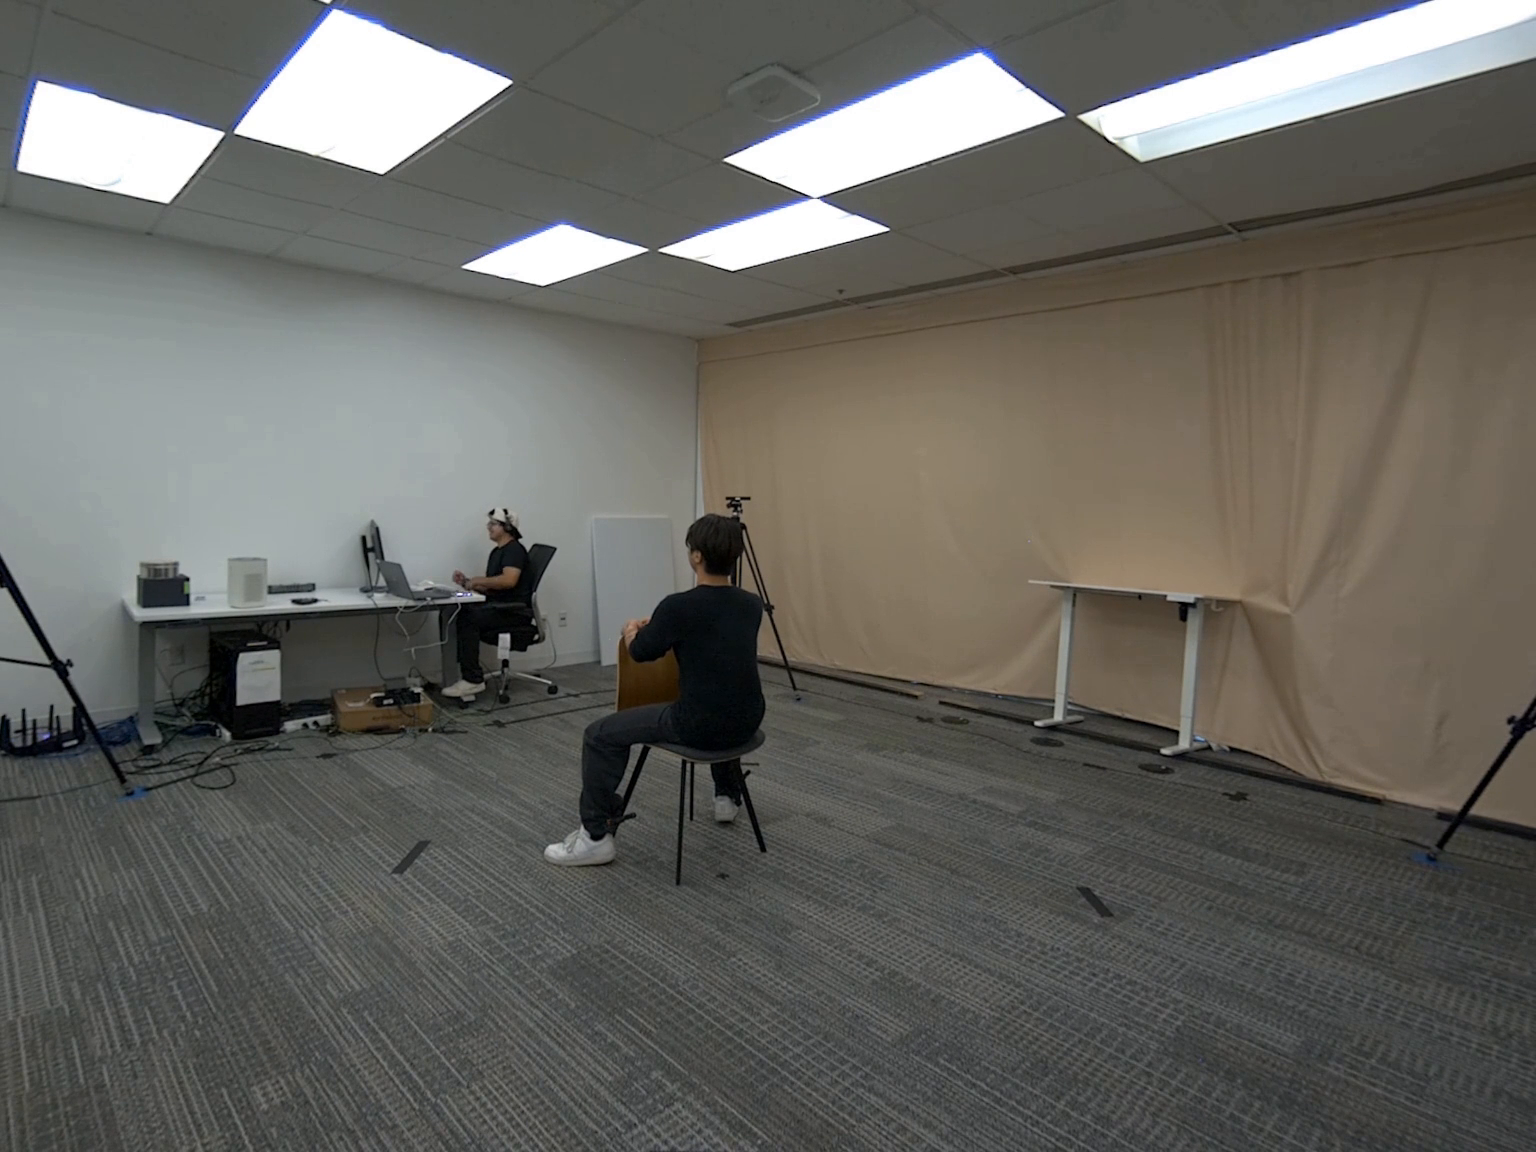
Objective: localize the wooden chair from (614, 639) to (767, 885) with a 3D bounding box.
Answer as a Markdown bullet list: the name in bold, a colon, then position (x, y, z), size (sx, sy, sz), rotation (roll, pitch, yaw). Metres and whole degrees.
- **wooden chair**: position (-0.307, 0.654, 3.294), size (0.467, 0.877, 0.535), rotation (-2, 1, -44)
